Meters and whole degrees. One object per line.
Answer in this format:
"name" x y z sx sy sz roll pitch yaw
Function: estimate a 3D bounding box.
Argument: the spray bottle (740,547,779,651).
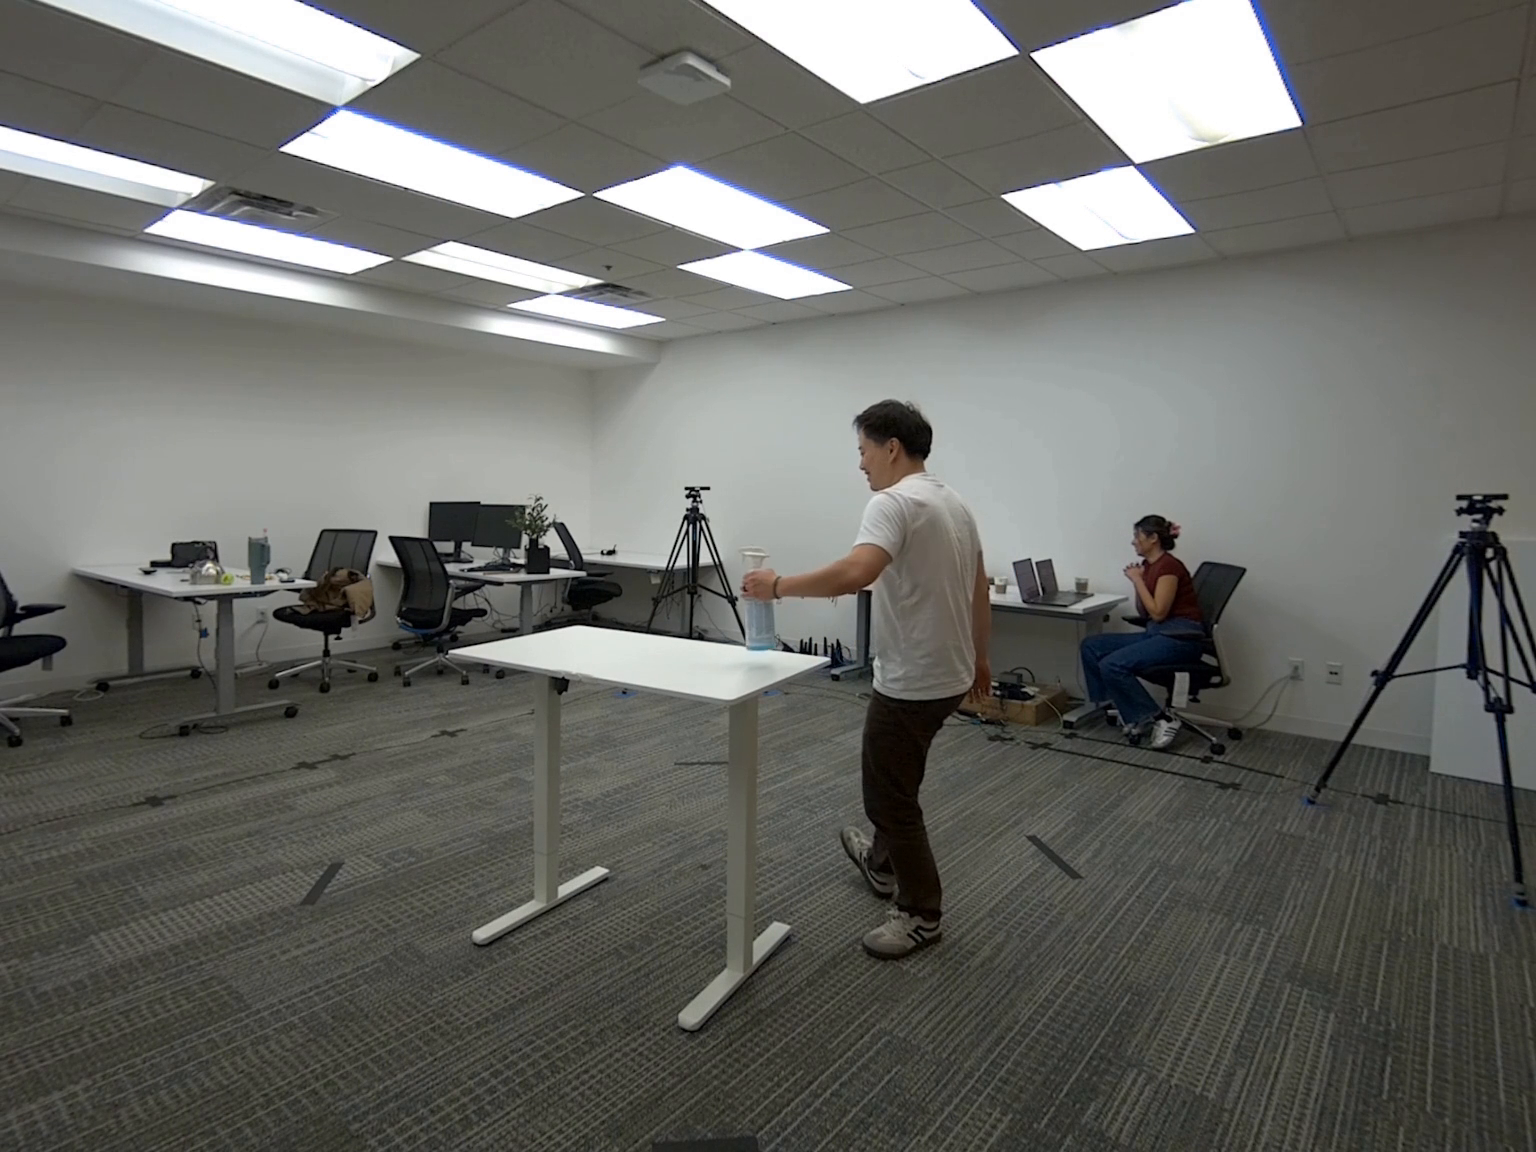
"spray bottle" -0.026 0.069 2.445 0.092 0.298 0.085 -5 -3 20
